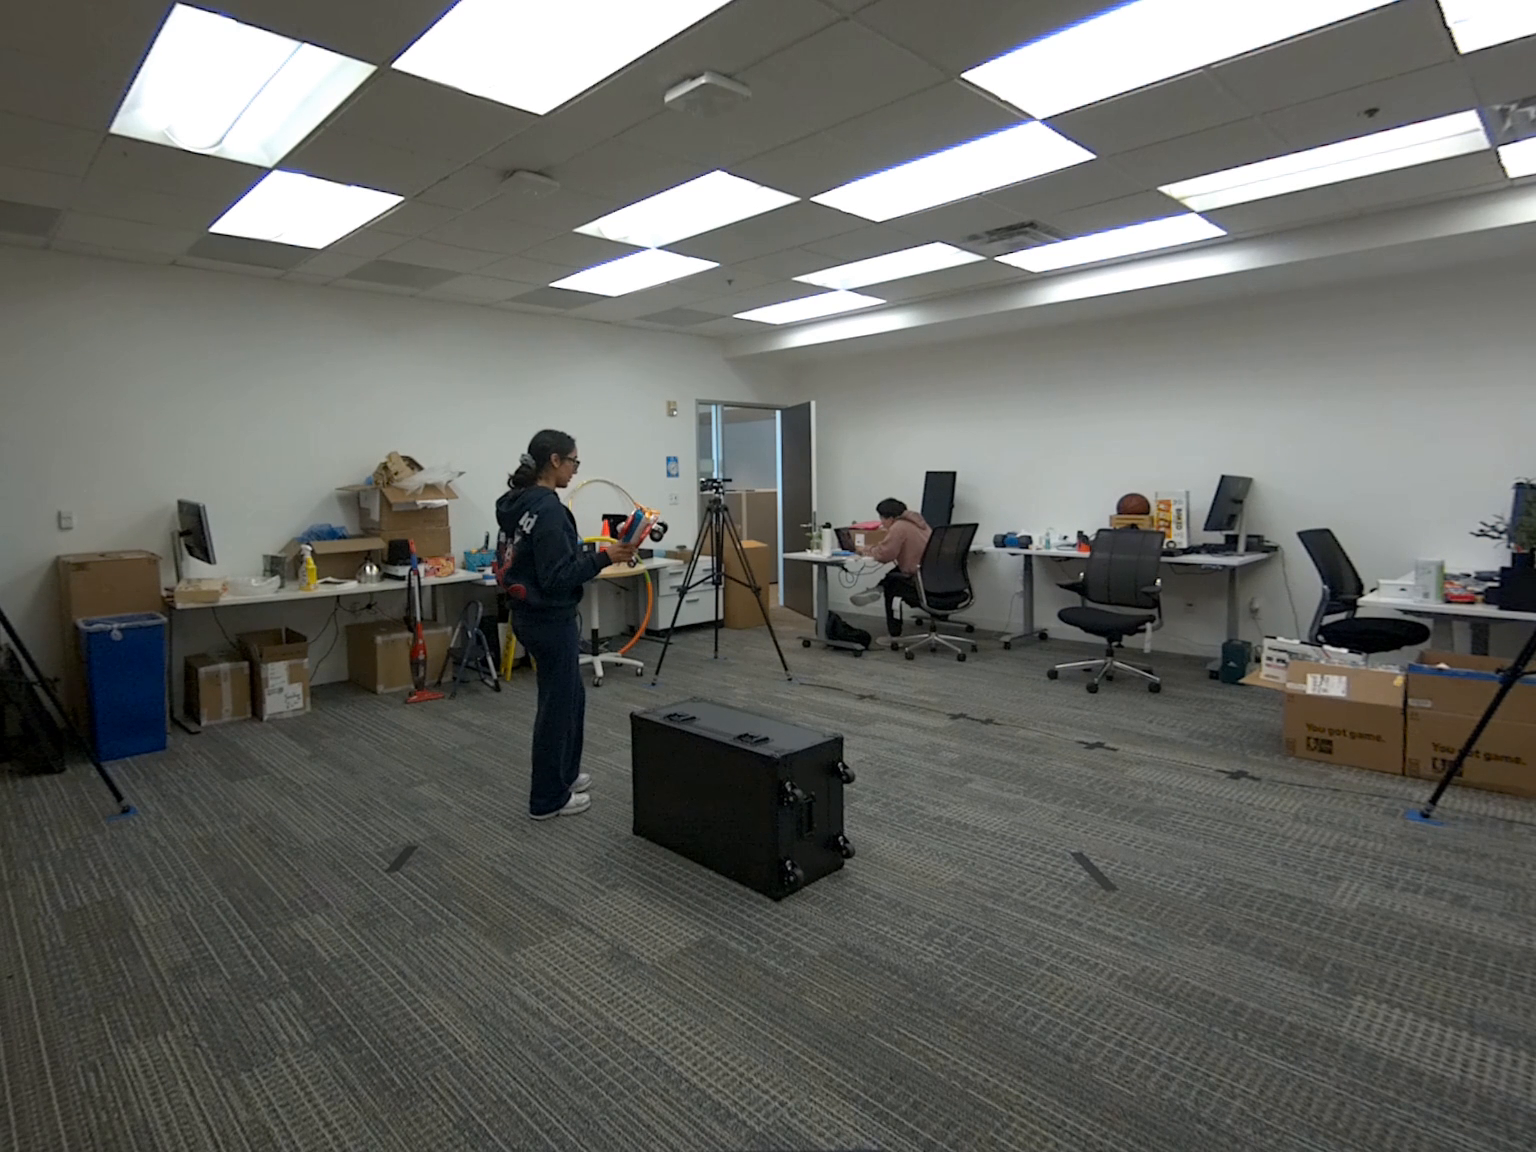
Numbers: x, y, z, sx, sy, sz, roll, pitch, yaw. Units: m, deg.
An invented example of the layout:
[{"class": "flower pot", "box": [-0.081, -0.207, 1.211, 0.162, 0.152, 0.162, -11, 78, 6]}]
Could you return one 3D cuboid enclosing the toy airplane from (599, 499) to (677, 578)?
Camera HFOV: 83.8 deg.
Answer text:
[{"class": "toy airplane", "box": [-0.521, -0.147, 3.380, 0.155, 0.259, 0.253, 43, -8, -8]}]
